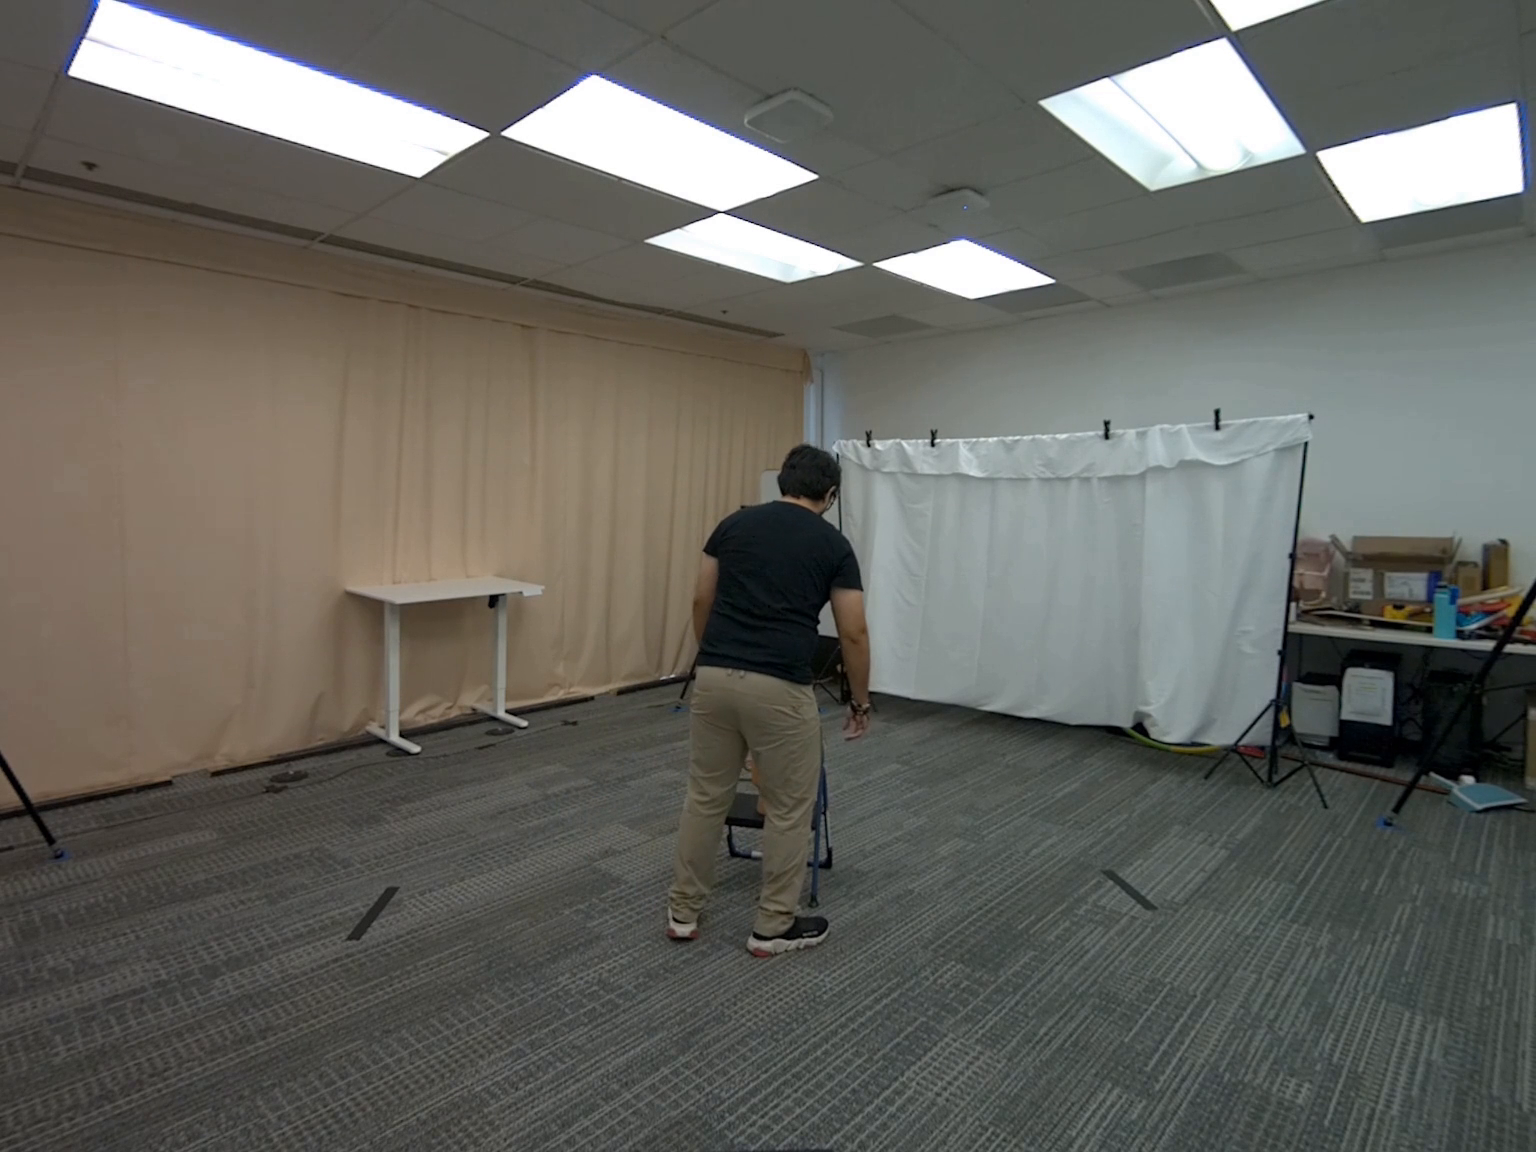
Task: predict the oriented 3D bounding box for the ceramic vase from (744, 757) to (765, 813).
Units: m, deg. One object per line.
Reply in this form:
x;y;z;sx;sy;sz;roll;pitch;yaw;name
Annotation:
0.006;0.765;3.107;0.164;0.219;0.130;4;6;42;ceramic vase
